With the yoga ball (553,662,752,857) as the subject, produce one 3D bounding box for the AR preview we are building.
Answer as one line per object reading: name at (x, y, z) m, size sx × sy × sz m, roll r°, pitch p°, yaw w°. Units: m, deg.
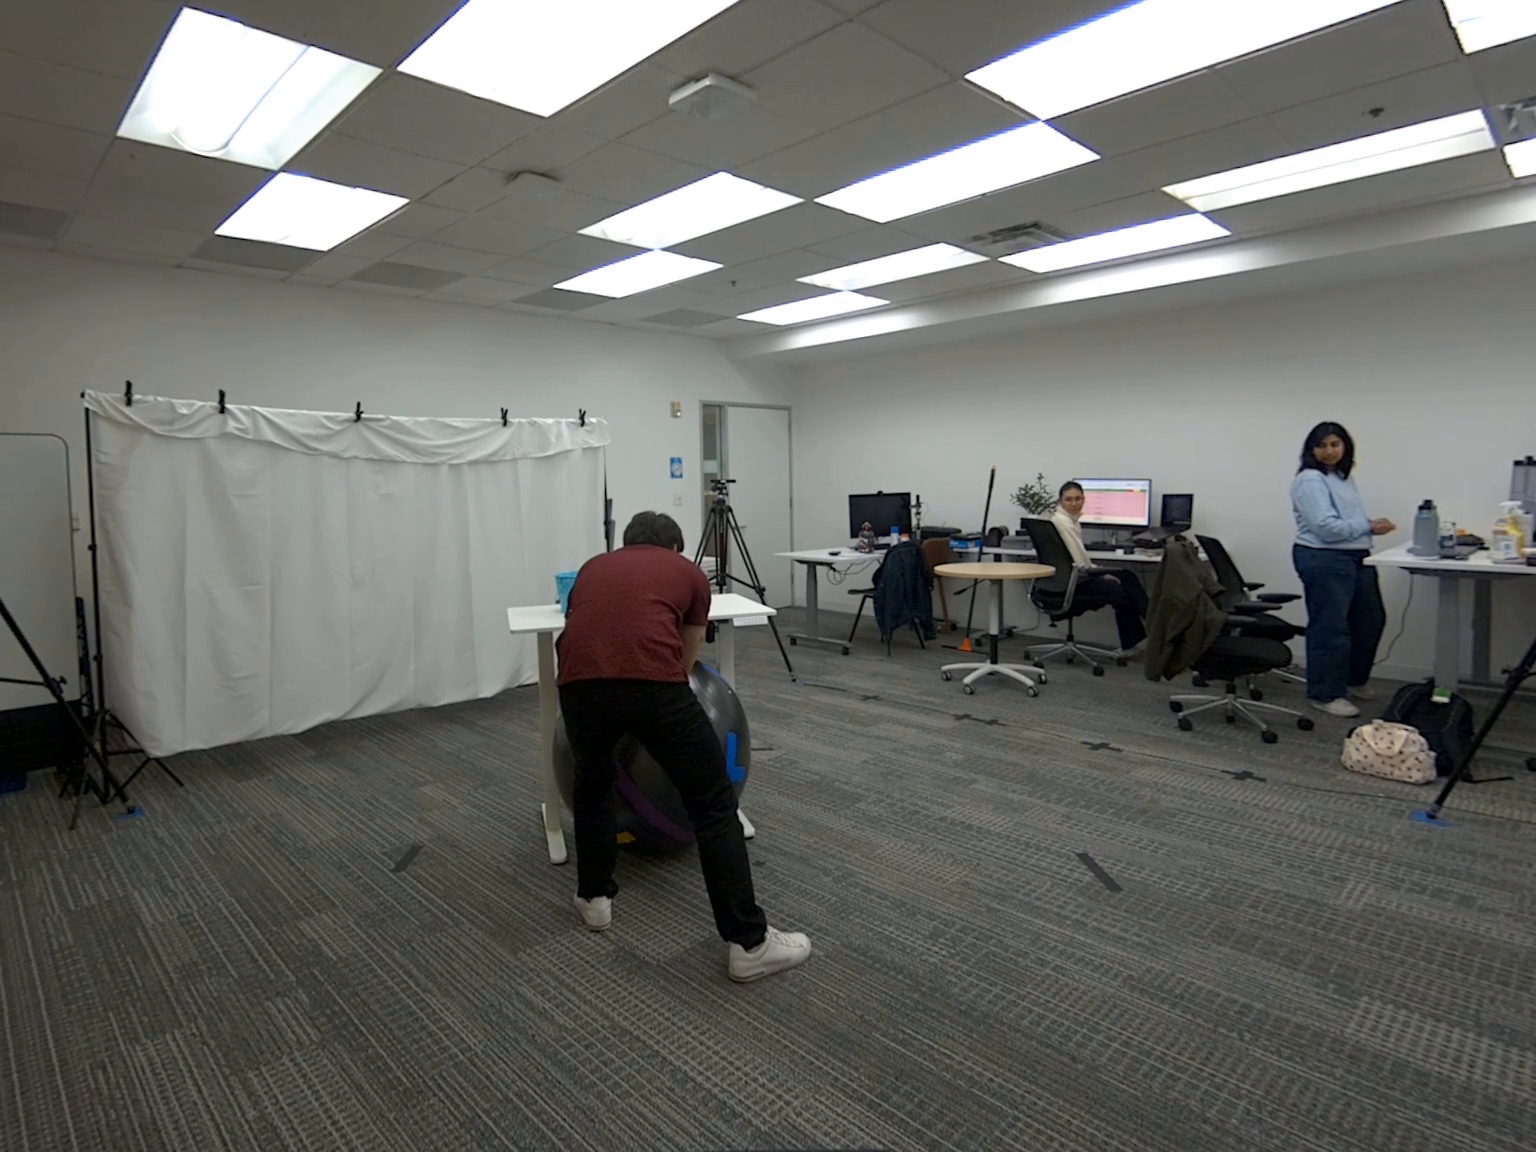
yoga ball at (-0.440, 0.674, 3.287) m, size 0.757 × 0.755 × 0.762 m, roll -1°, pitch 5°, yaw -2°
